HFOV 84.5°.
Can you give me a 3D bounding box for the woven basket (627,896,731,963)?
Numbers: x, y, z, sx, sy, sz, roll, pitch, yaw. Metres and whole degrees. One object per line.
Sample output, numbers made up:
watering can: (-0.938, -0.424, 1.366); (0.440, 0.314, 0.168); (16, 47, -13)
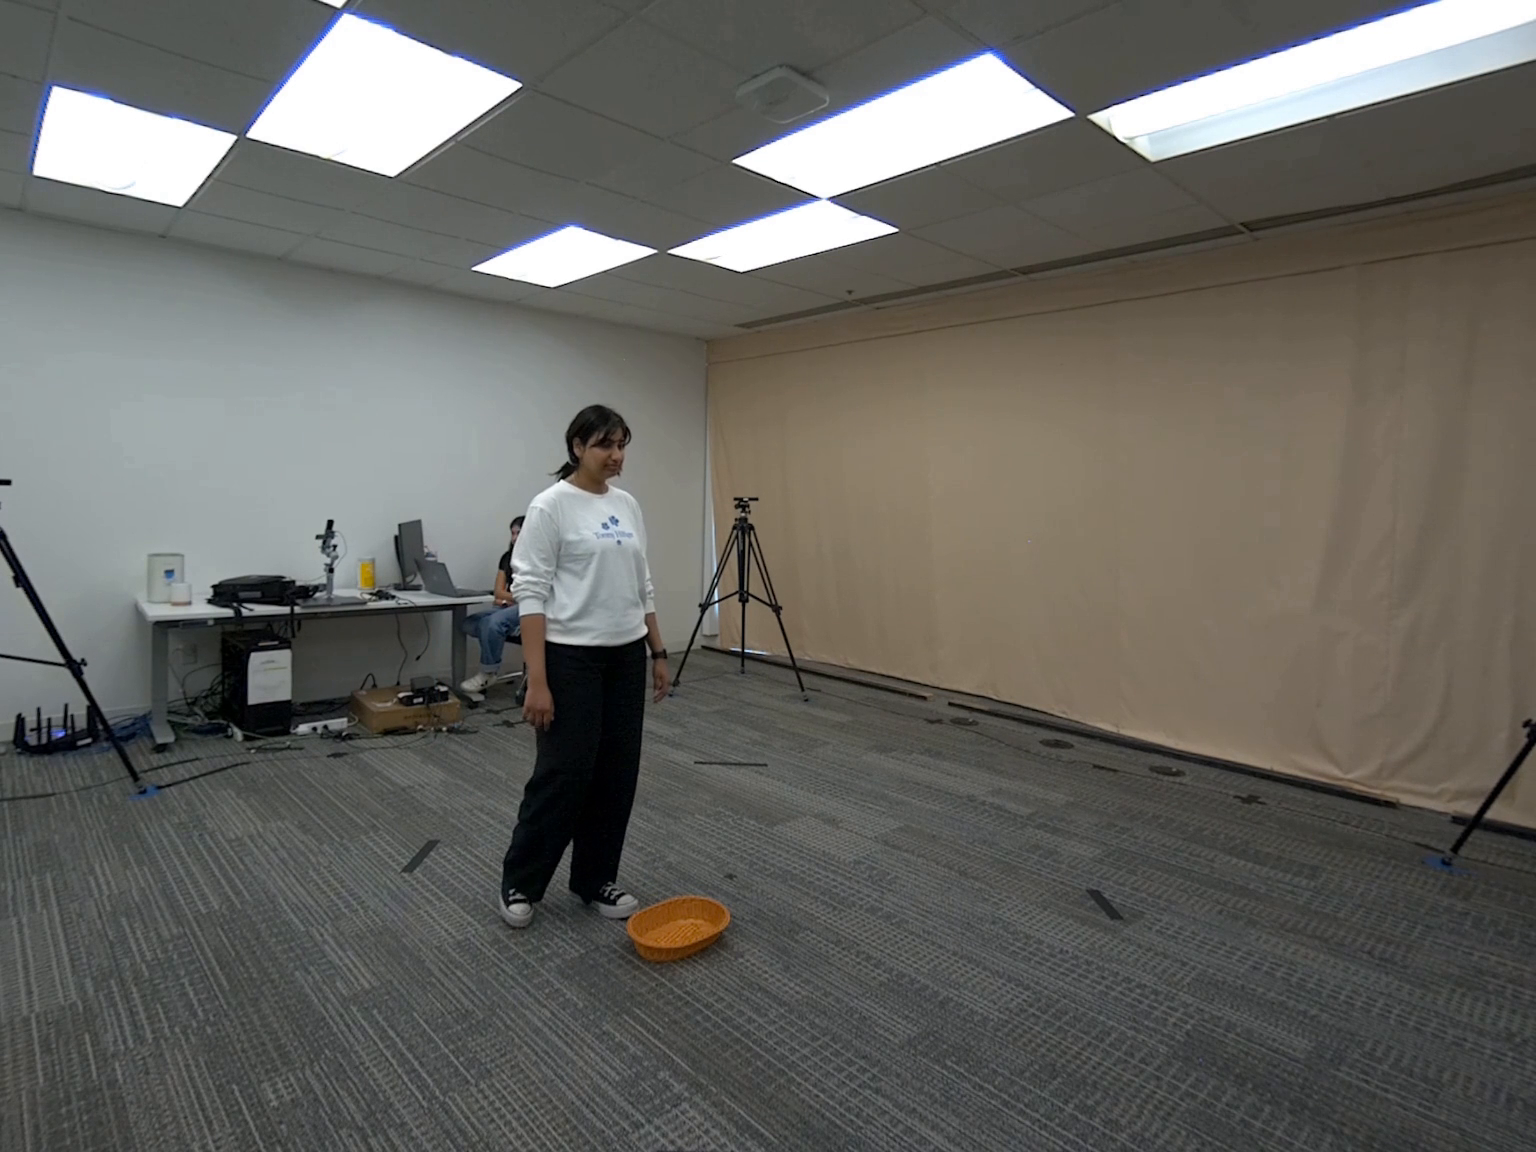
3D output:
woven basket: (-0.288, 1.108, 2.631); (0.342, 0.073, 0.259); (-3, 8, -42)
